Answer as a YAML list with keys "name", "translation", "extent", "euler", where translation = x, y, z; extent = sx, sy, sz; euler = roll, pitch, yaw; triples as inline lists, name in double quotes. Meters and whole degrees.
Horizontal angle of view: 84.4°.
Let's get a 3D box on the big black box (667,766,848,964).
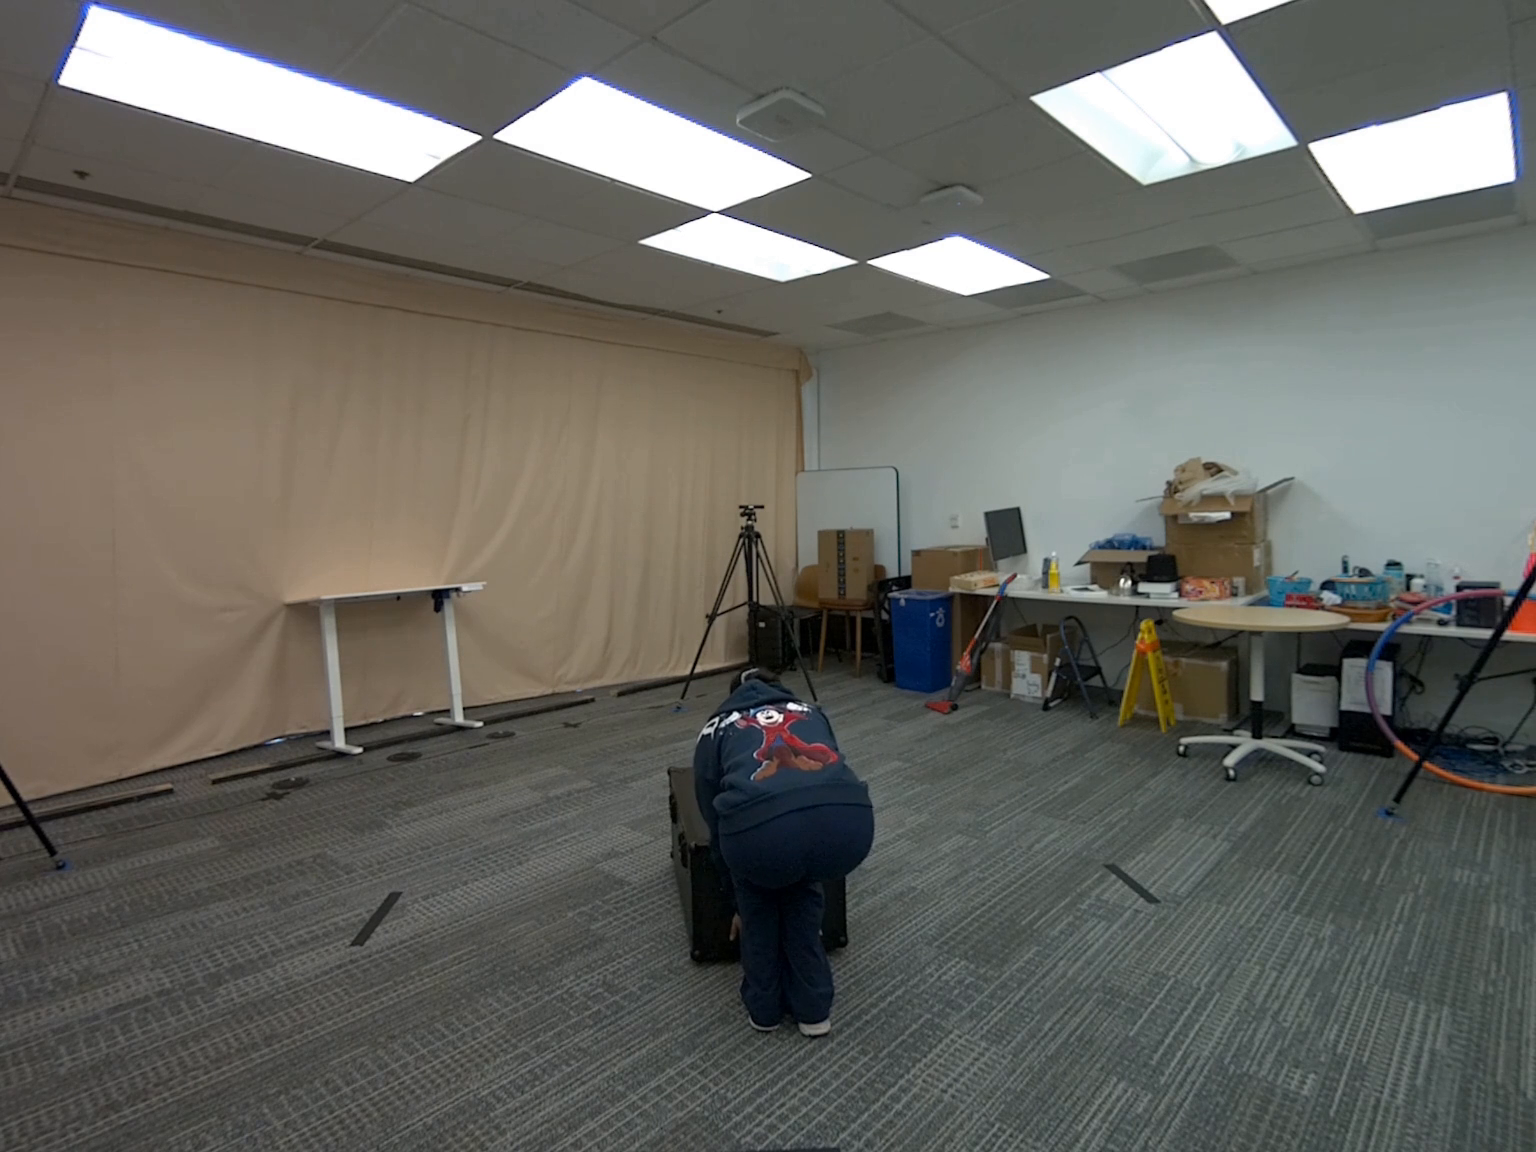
- name: "big black box"
  translation: [-0.073, 0.944, 2.969]
  extent: [0.516, 0.395, 0.873]
  euler: [-2, 6, -11]
